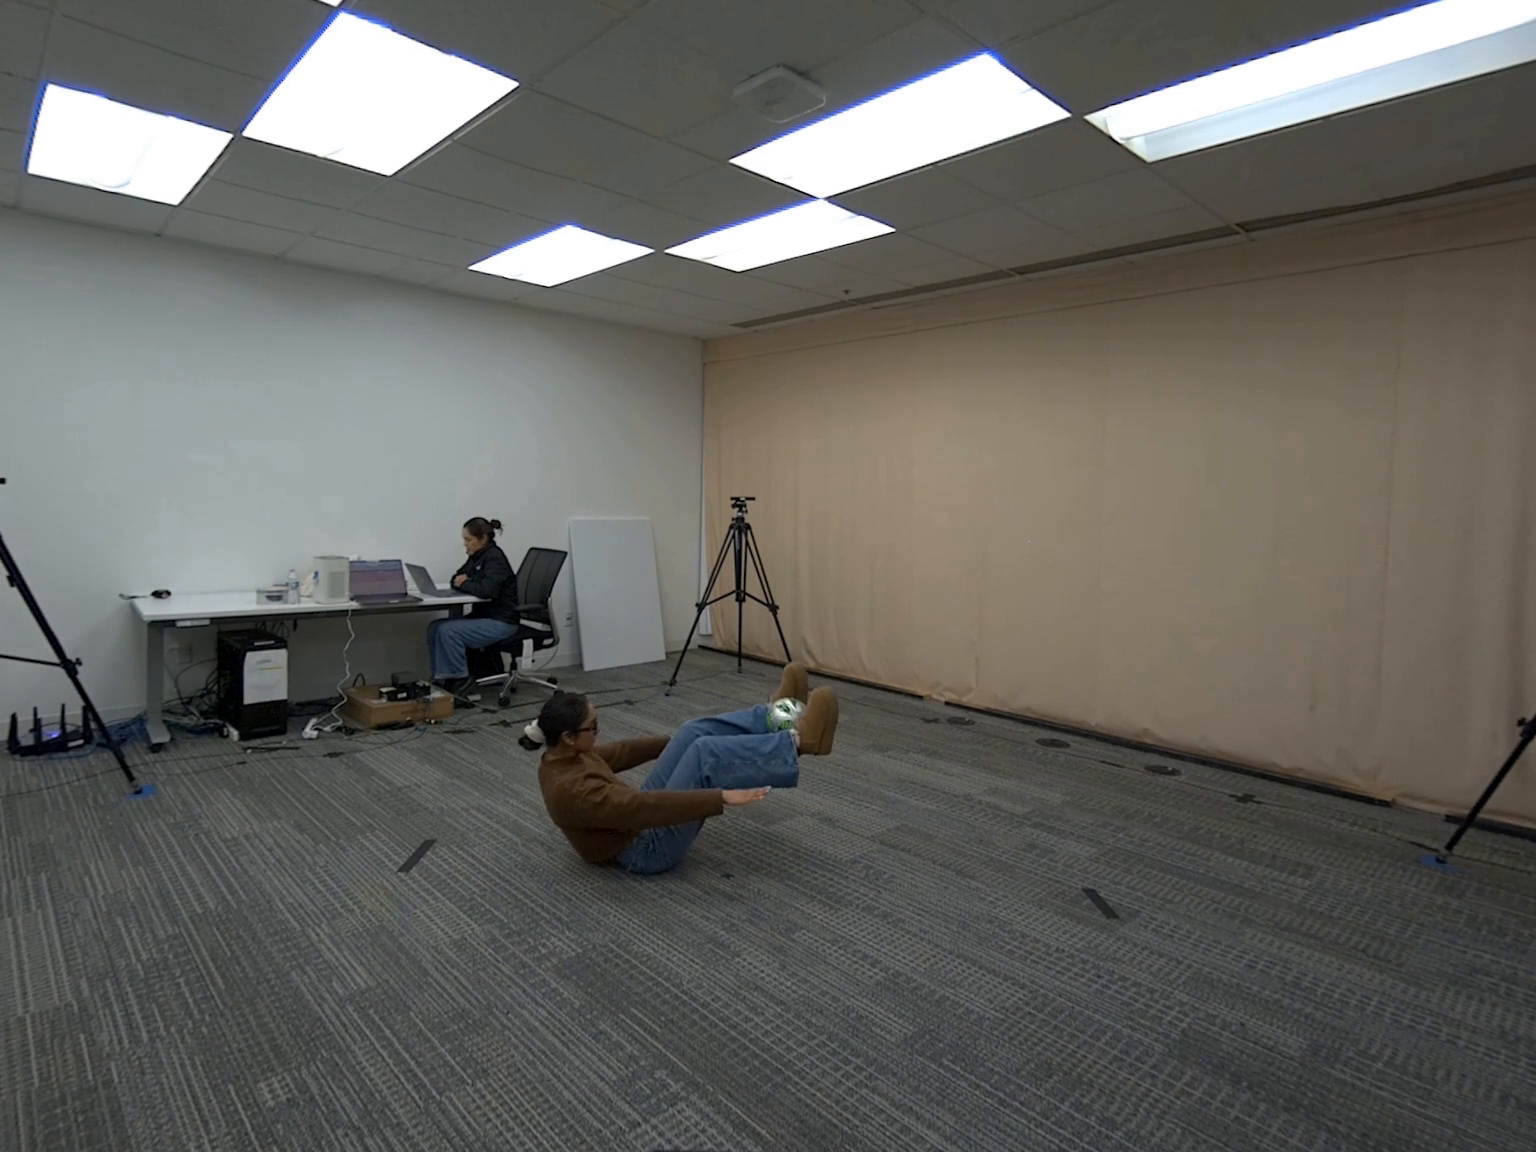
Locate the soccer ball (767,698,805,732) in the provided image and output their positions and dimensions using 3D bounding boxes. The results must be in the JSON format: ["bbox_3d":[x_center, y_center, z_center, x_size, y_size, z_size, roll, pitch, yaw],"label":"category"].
[{"bbox_3d":[0.066,0.589,3.391,0.187,0.187,0.188,1,4,-1],"label":"soccer ball"}]
